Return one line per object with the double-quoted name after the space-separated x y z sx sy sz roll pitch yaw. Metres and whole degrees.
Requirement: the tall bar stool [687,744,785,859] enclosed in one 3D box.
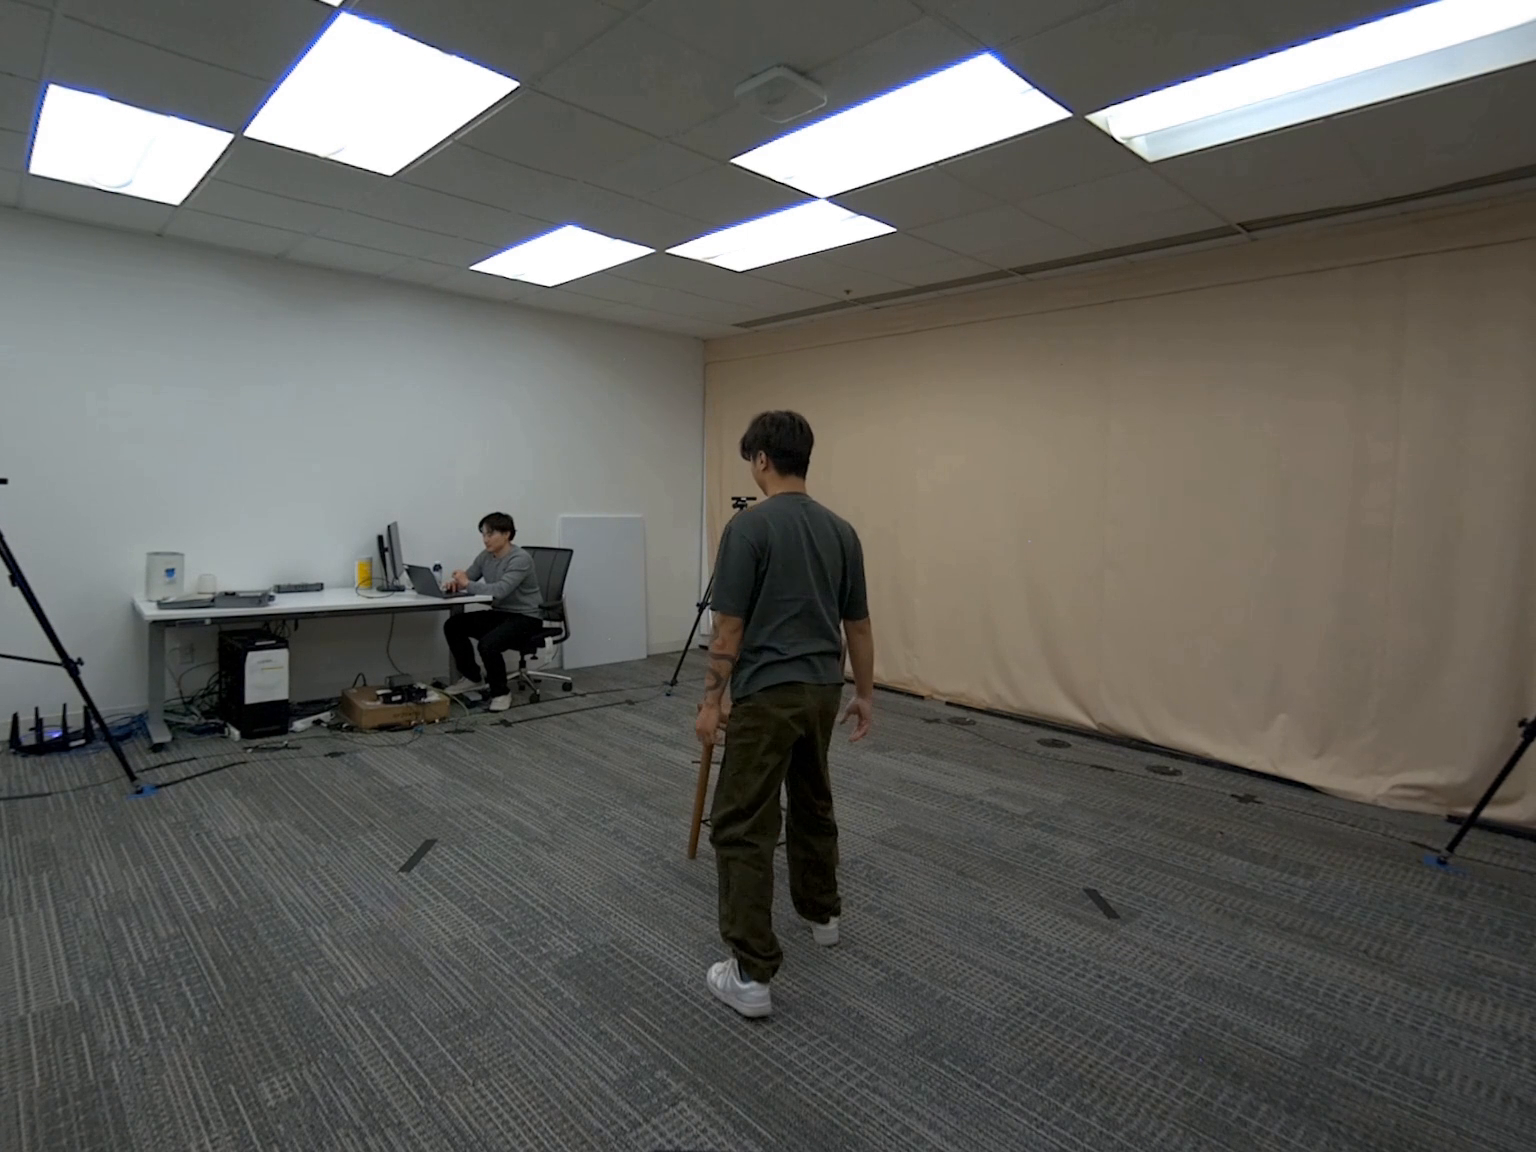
-0.001 0.667 3.220 0.456 0.888 0.468 1 3 -39 "tall bar stool"
